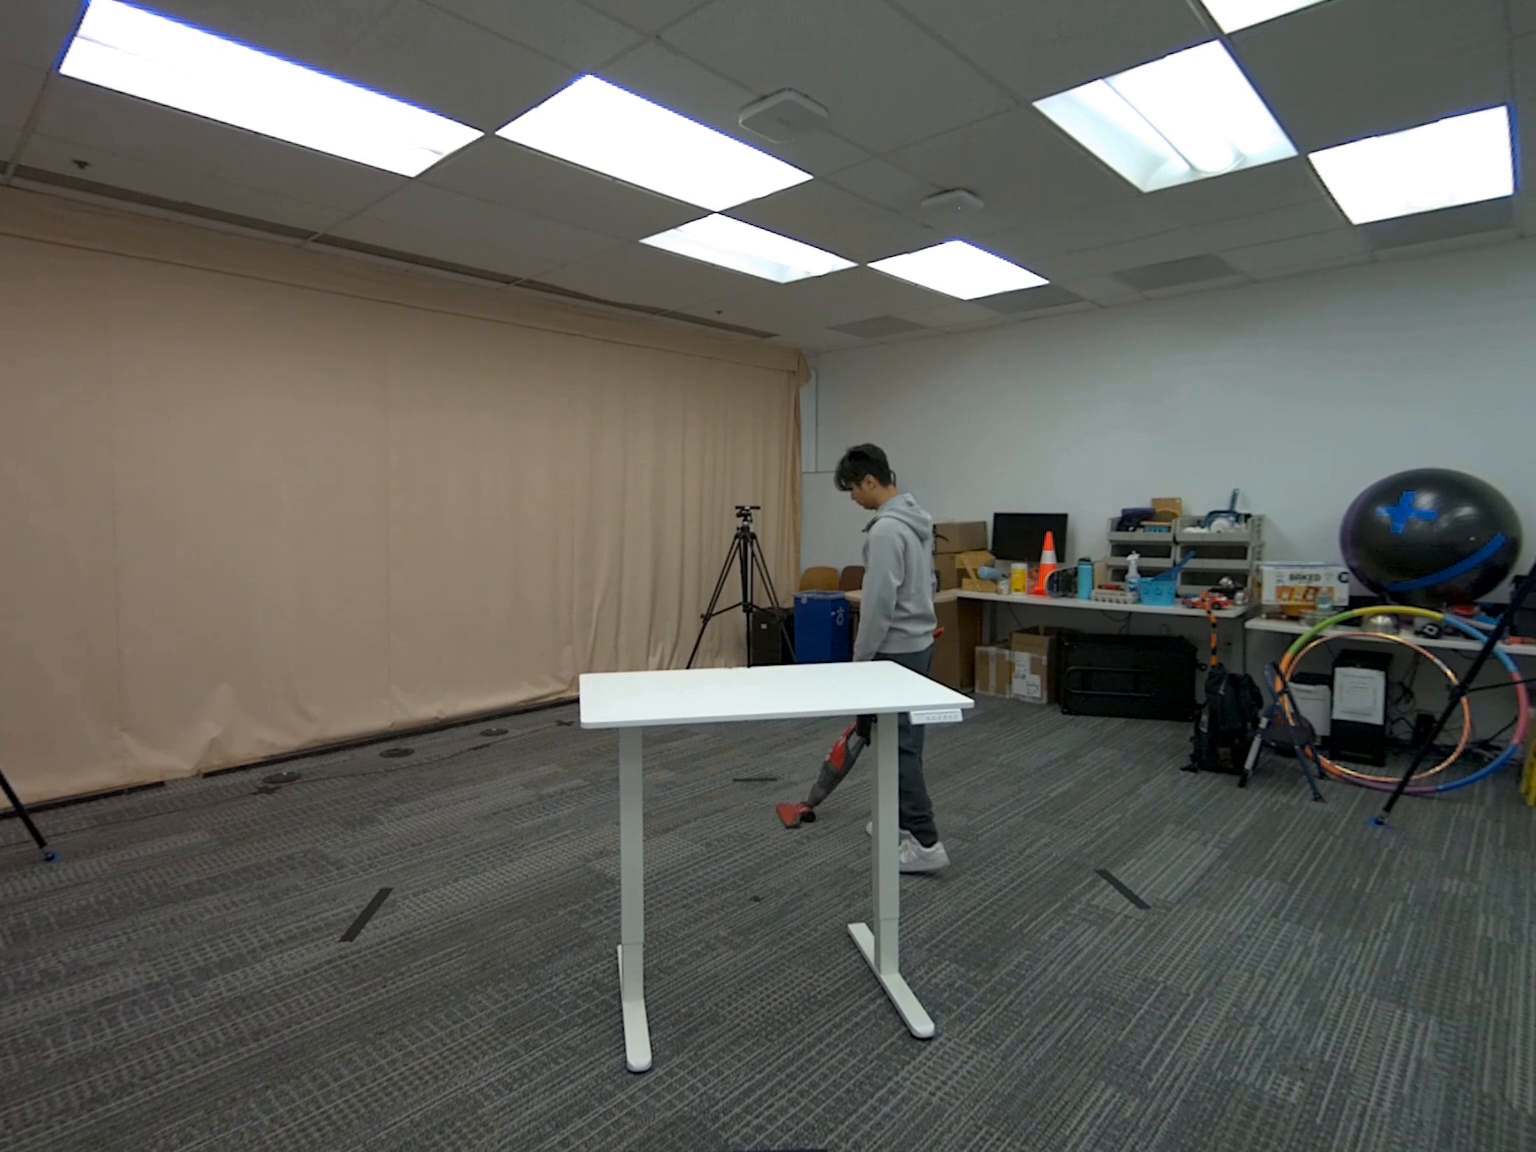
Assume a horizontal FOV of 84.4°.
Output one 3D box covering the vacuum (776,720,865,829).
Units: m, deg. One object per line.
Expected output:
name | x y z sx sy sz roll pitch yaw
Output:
vacuum | 0.438 0.669 3.780 0.142 1.049 0.256 39 -3 -11
